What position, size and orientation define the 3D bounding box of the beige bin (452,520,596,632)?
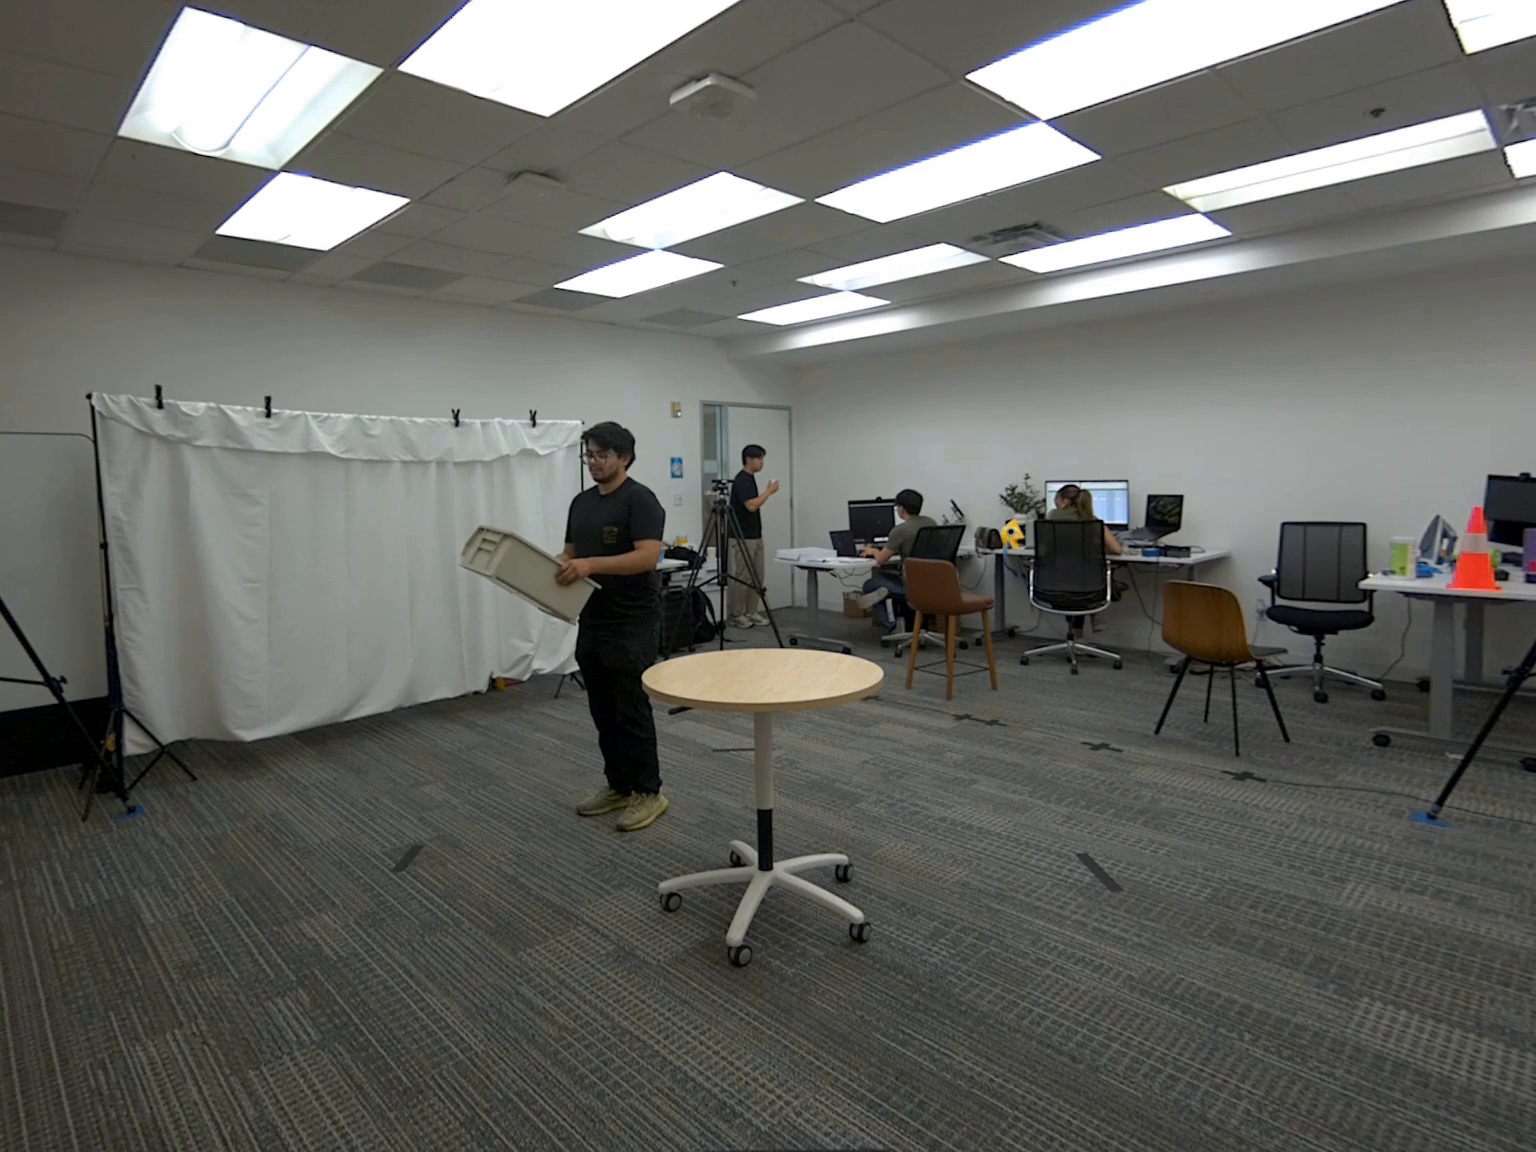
[{"bbox_3d":[-0.938,-0.006,3.308,0.407,0.189,0.390,36,-11,-34],"label":"beige bin"}]
